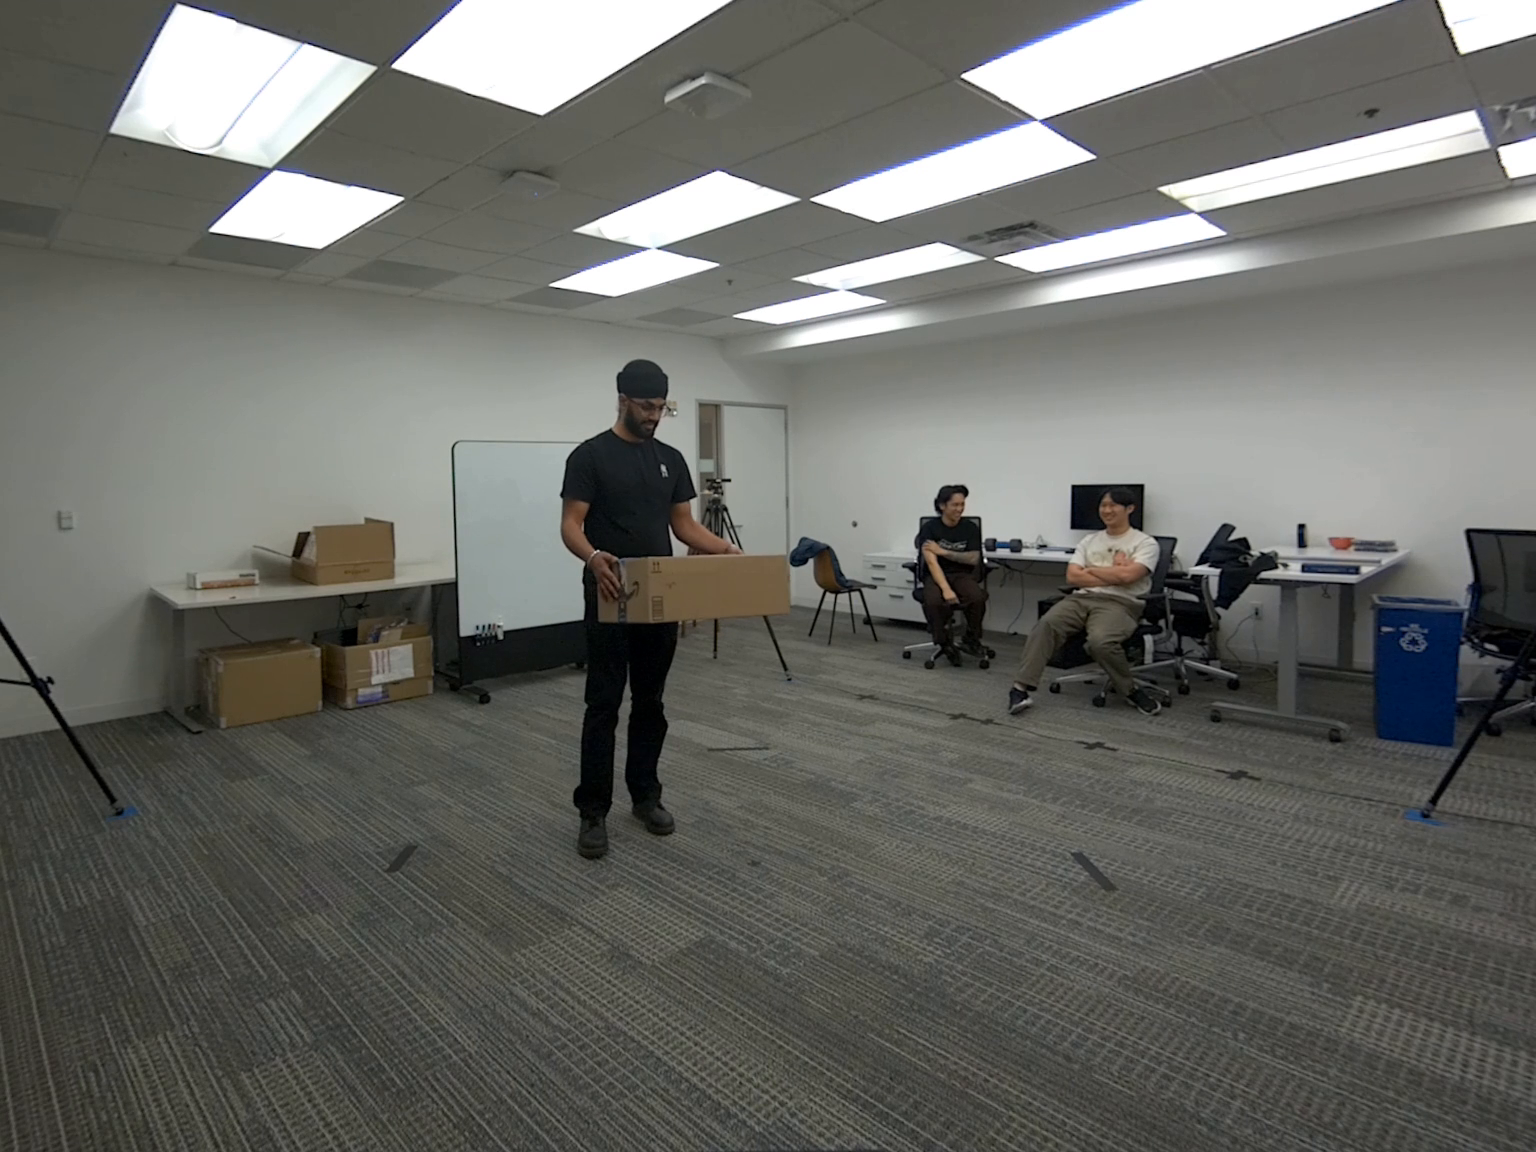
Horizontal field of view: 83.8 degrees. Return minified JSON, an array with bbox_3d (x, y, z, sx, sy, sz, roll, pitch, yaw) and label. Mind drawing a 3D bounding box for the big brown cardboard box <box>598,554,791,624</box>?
[{"bbox_3d":[-0.281,0.043,3.082,0.574,0.234,0.427,-4,-1,-35],"label":"big brown cardboard box"}]
